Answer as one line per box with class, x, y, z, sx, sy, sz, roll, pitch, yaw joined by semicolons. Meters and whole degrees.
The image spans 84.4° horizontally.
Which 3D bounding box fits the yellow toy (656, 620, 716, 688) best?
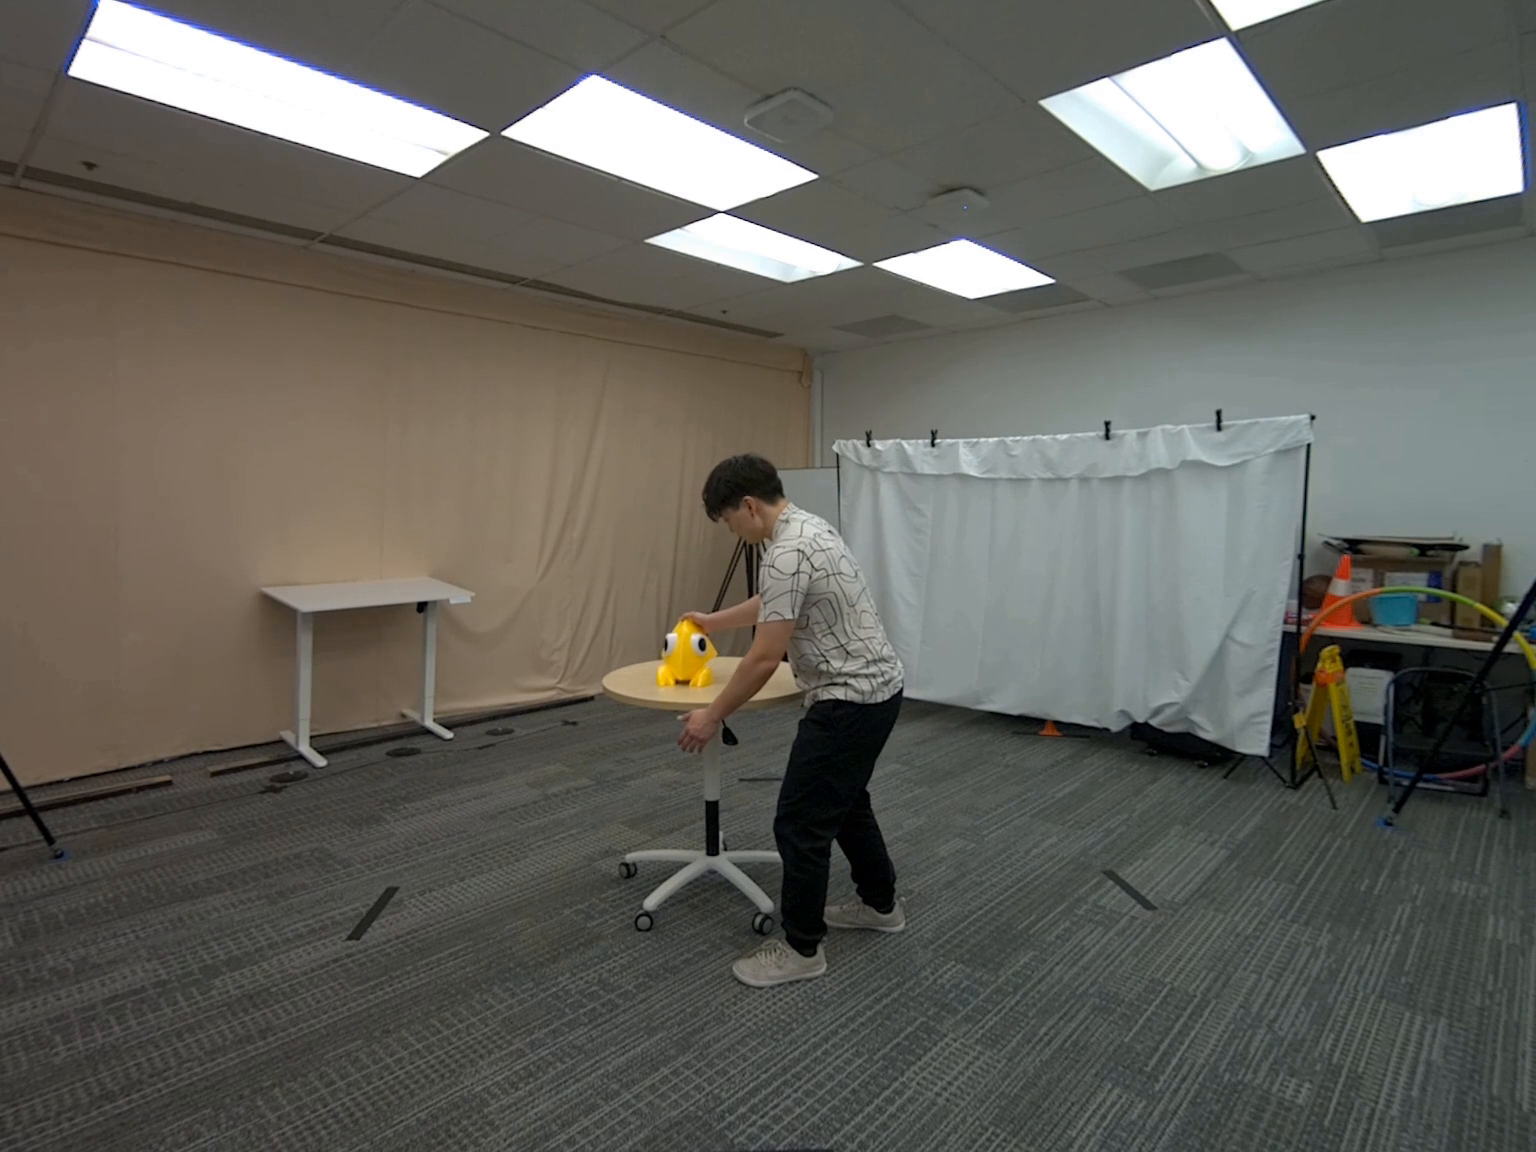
yellow toy;-0.289;0.255;2.929;0.207;0.230;0.192;0;4;7
